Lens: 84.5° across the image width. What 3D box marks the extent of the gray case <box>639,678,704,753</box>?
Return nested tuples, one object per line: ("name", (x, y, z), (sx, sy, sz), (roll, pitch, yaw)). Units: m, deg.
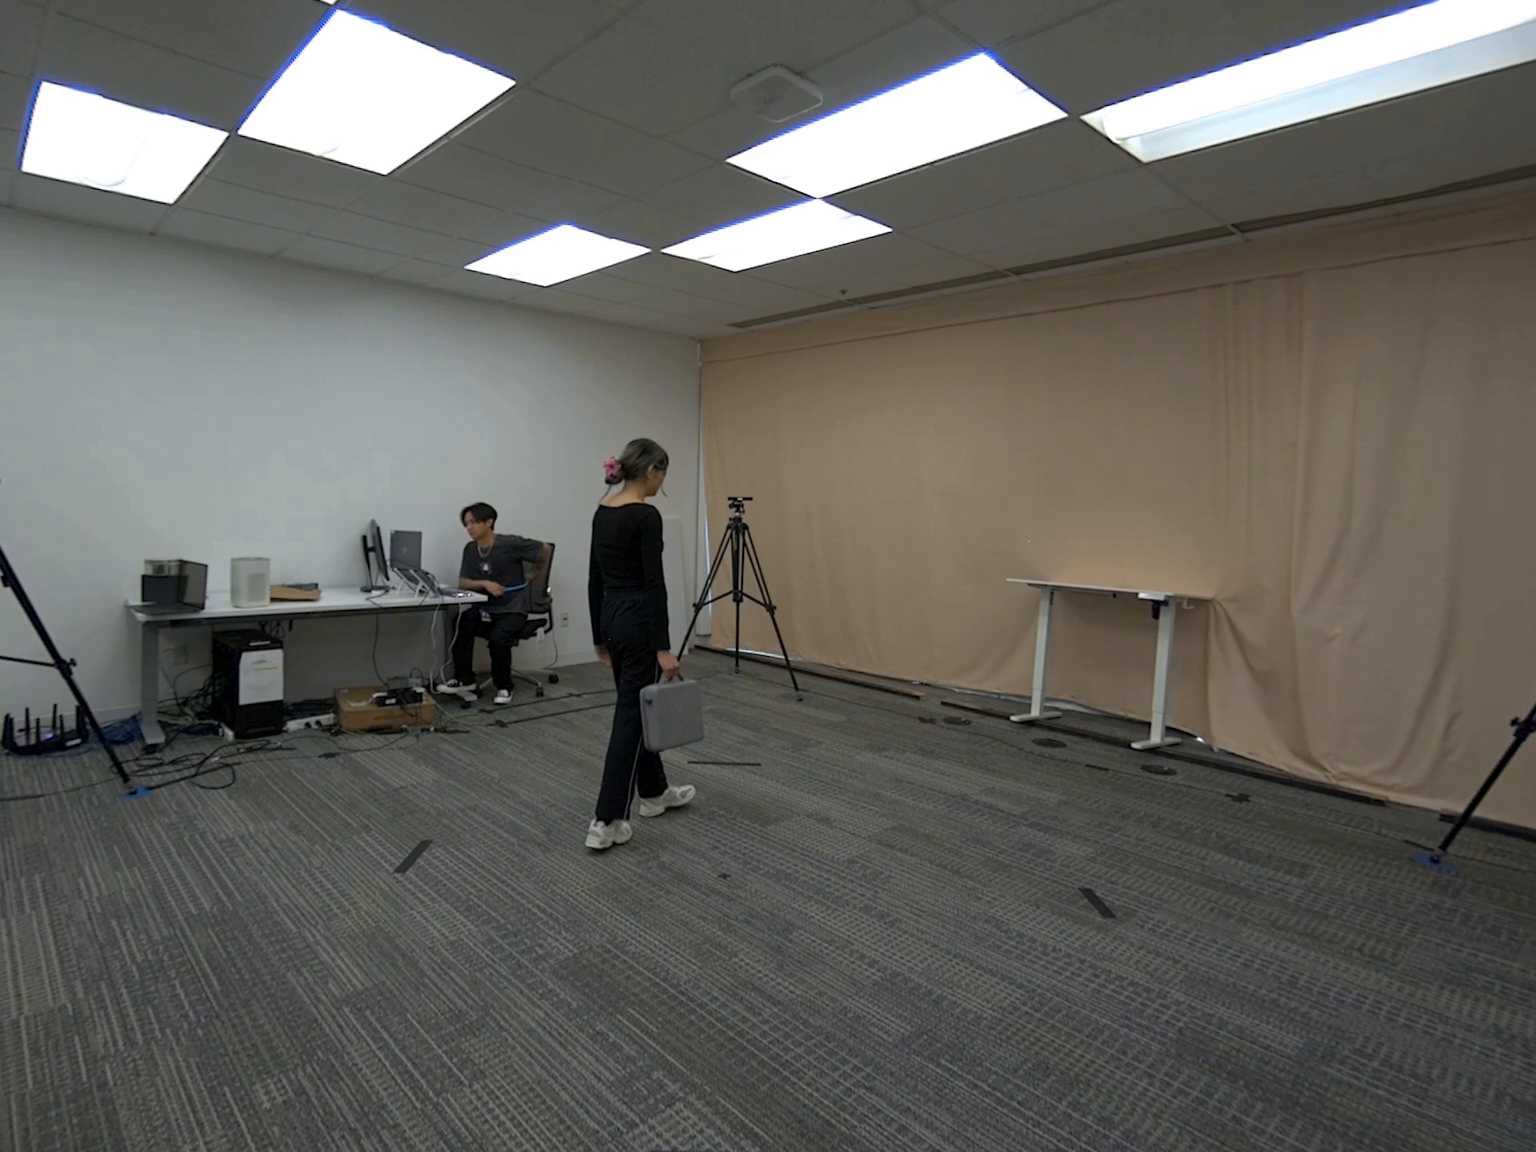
("gray case", (-0.390, 0.544, 3.346), (0.106, 0.261, 0.251), (-7, -3, 43))
